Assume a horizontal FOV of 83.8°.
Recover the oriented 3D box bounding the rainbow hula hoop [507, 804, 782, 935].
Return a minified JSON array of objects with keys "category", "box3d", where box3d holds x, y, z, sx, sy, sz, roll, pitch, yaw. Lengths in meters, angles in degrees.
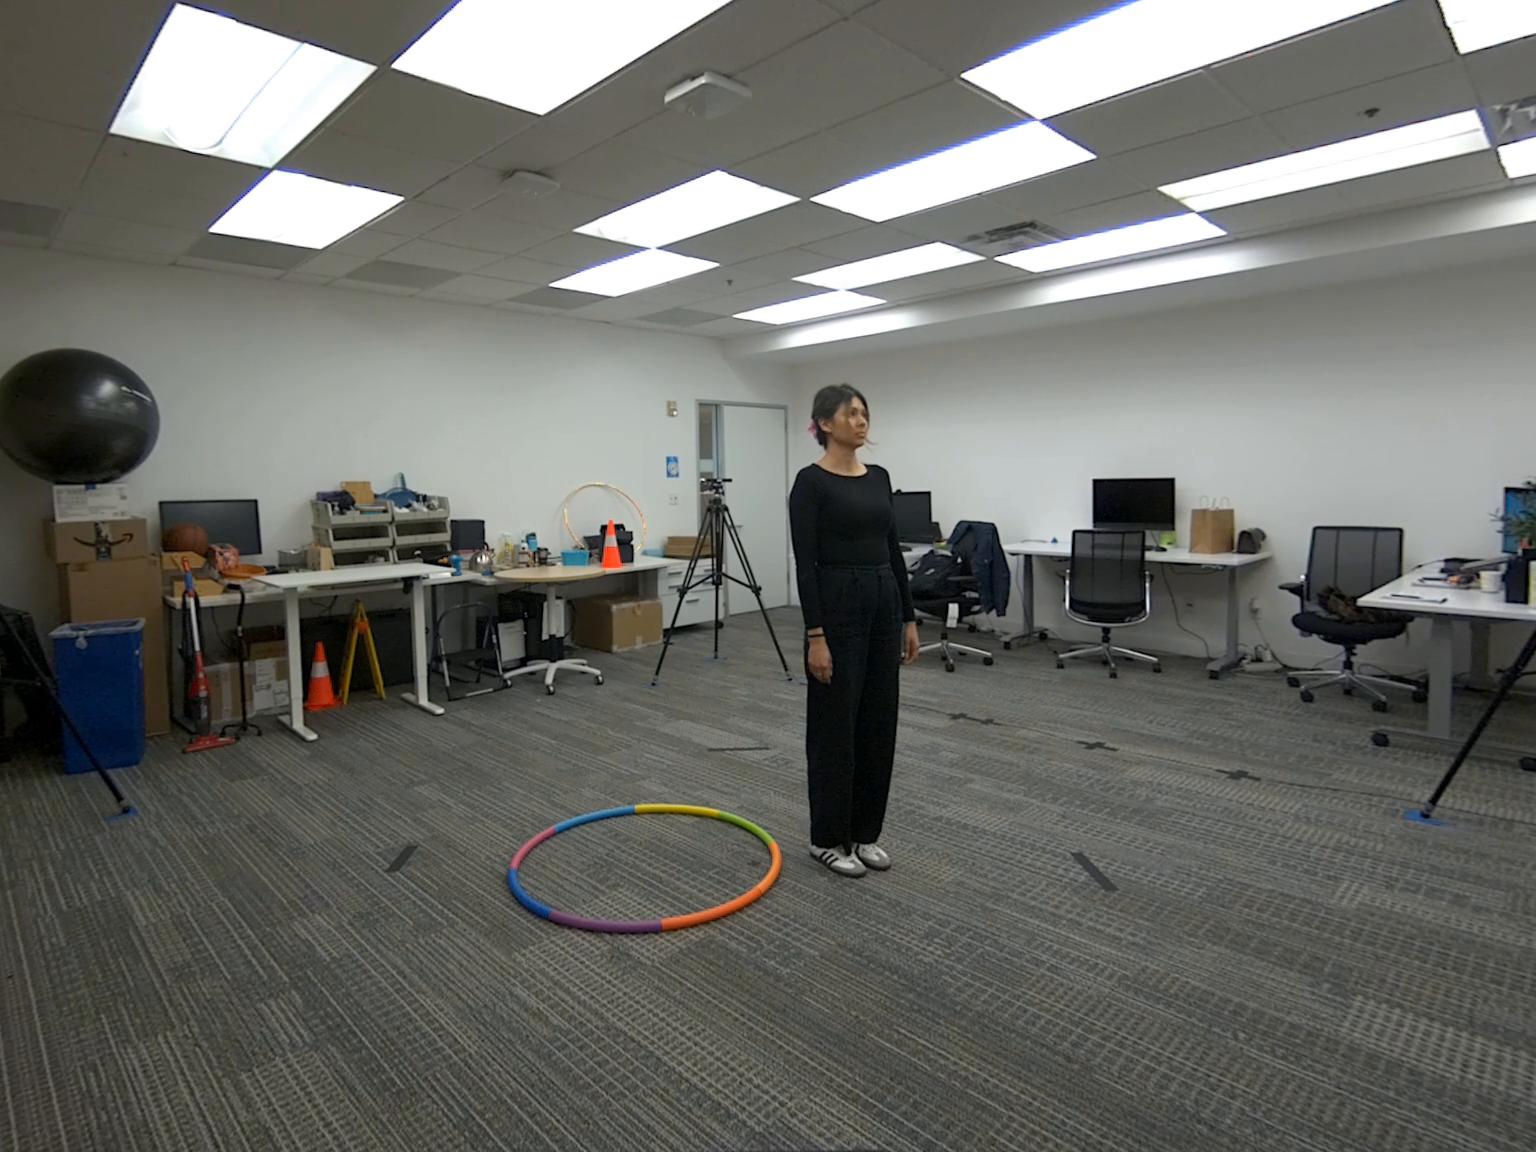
[{"category":"rainbow hula hoop","box3d":[-0.444,1.018,3.123,0.978,0.035,0.984,-1,7,-2]}]
